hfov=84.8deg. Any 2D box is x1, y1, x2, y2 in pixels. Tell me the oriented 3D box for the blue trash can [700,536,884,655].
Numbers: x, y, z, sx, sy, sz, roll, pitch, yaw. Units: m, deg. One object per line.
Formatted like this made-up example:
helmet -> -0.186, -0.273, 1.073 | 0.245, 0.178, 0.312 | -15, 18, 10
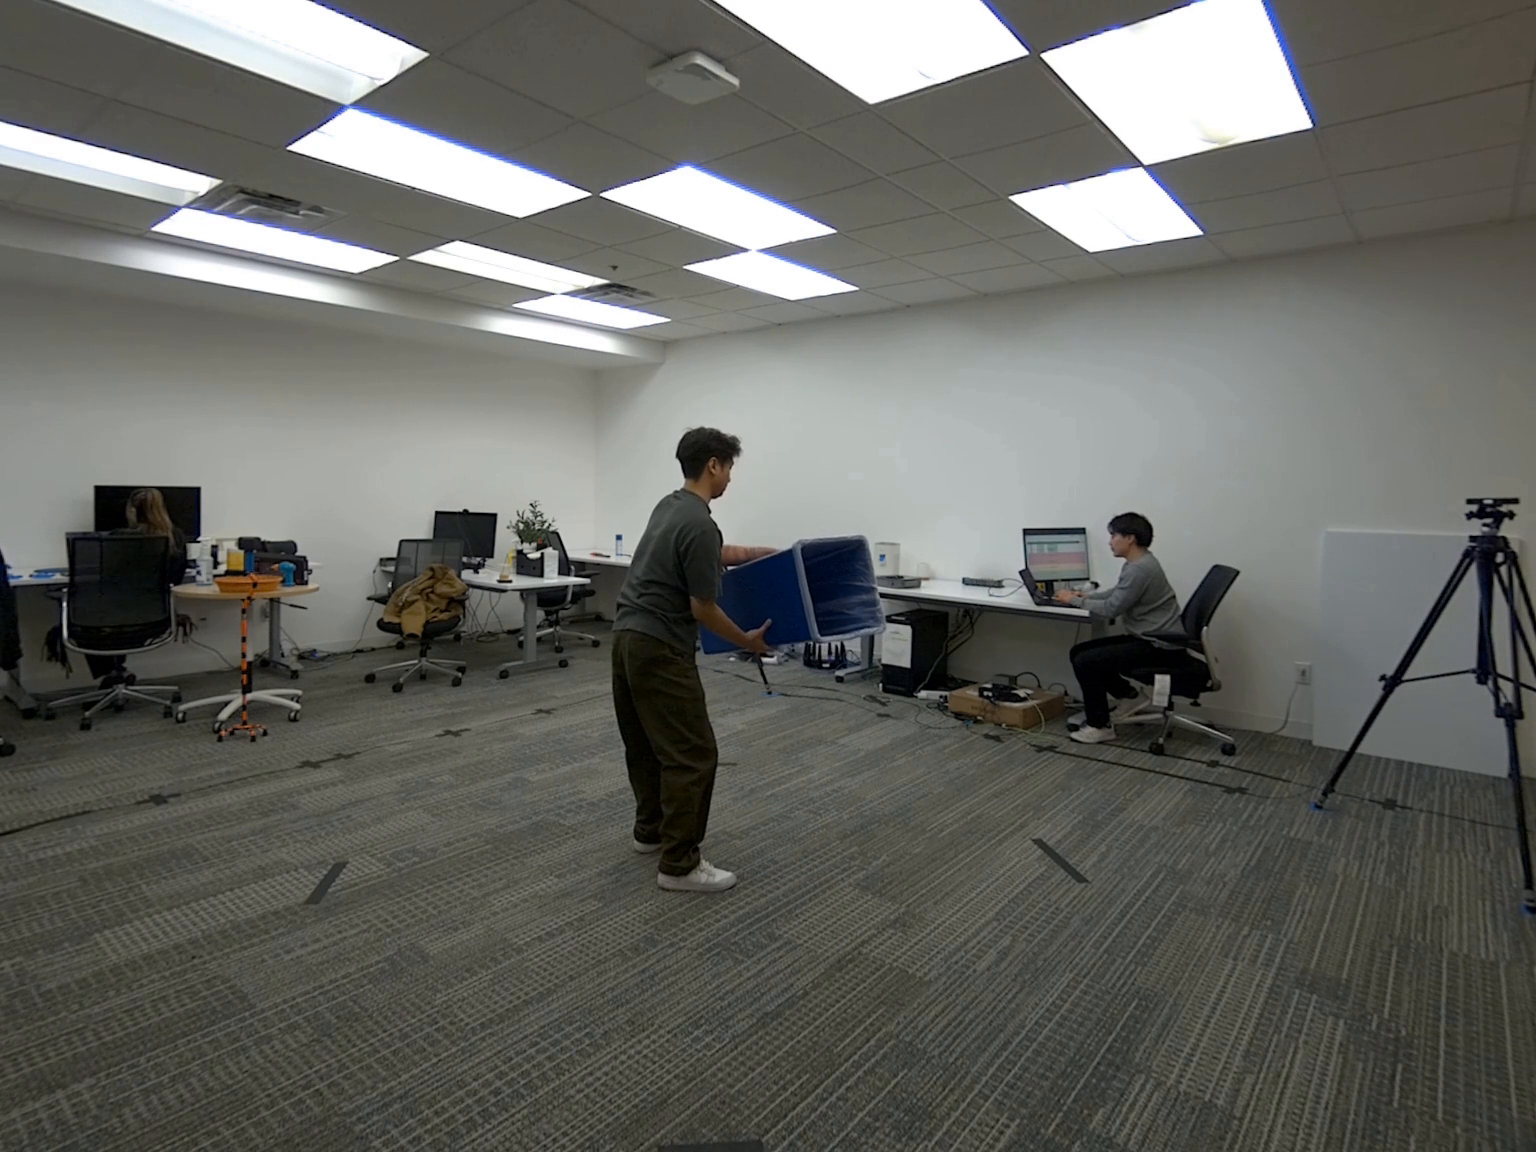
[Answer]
blue trash can -> 0.037, 0.111, 3.331 | 0.367, 0.377, 0.727 | -5, -8, -39
